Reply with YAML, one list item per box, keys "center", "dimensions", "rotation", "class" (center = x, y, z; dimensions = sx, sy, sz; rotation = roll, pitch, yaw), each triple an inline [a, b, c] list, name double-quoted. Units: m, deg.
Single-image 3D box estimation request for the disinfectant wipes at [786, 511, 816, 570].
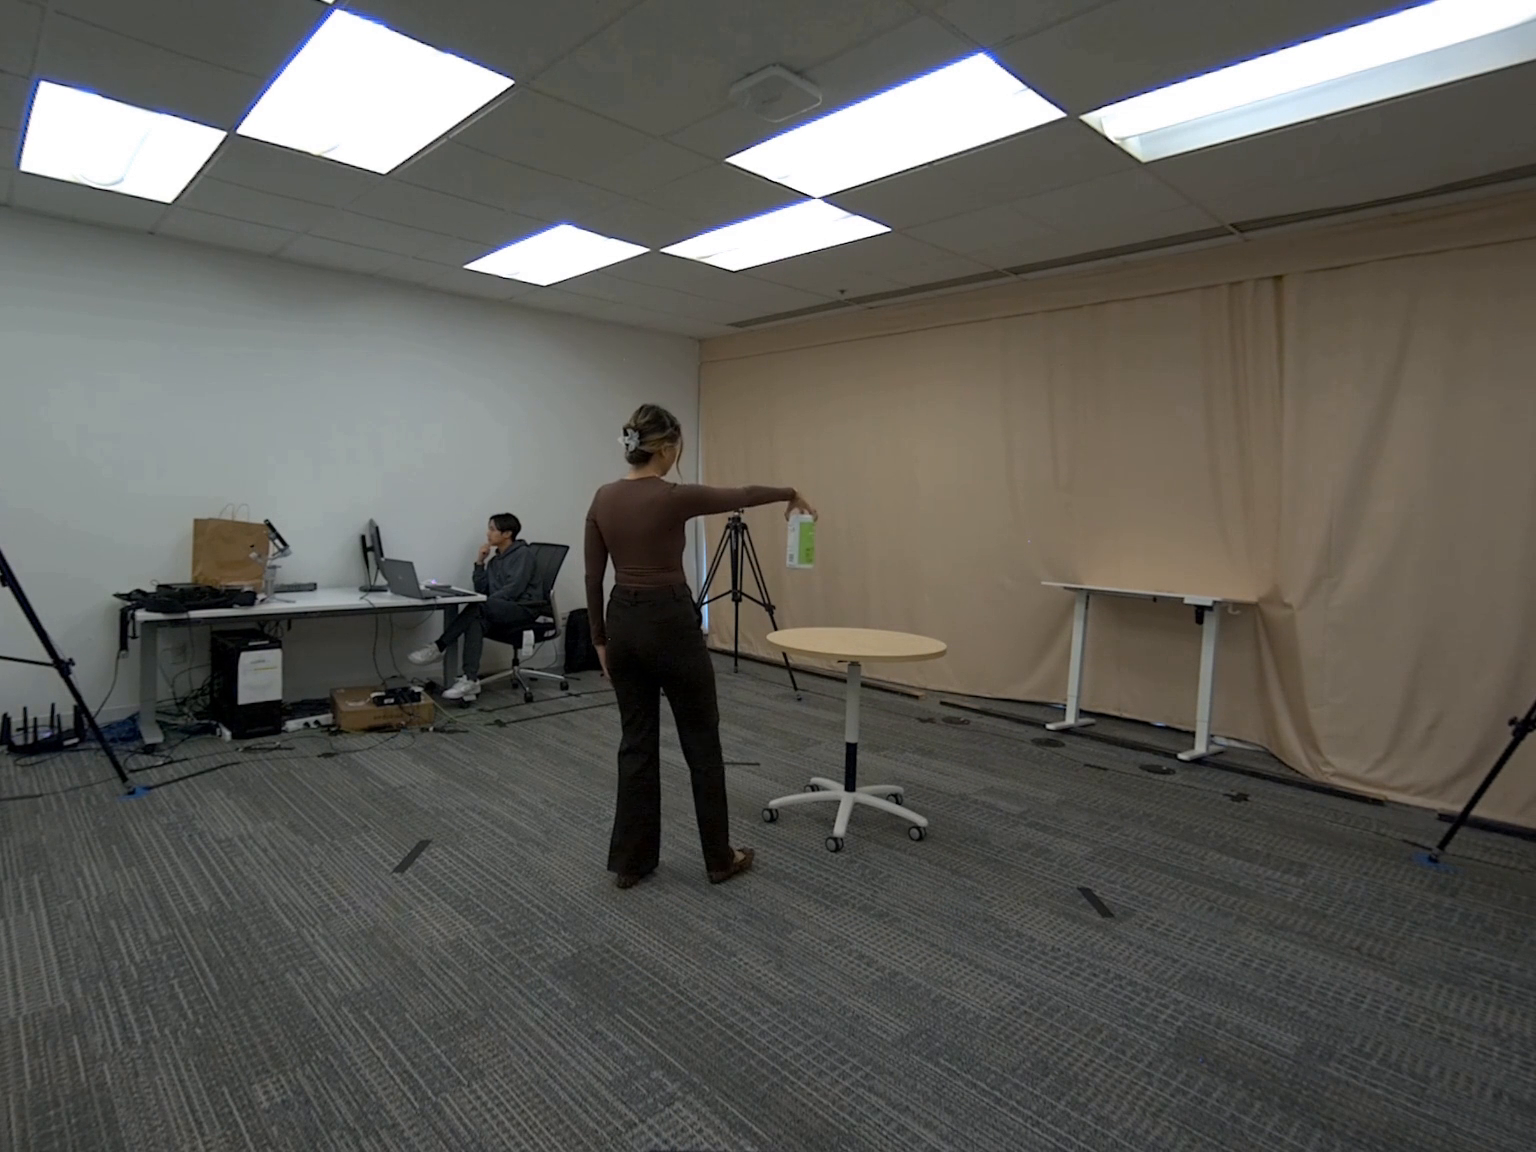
- center: [0.126, -0.136, 3.340]
  dimensions: [0.118, 0.217, 0.118]
  rotation: [2, 4, -1]
  class: "disinfectant wipes"
